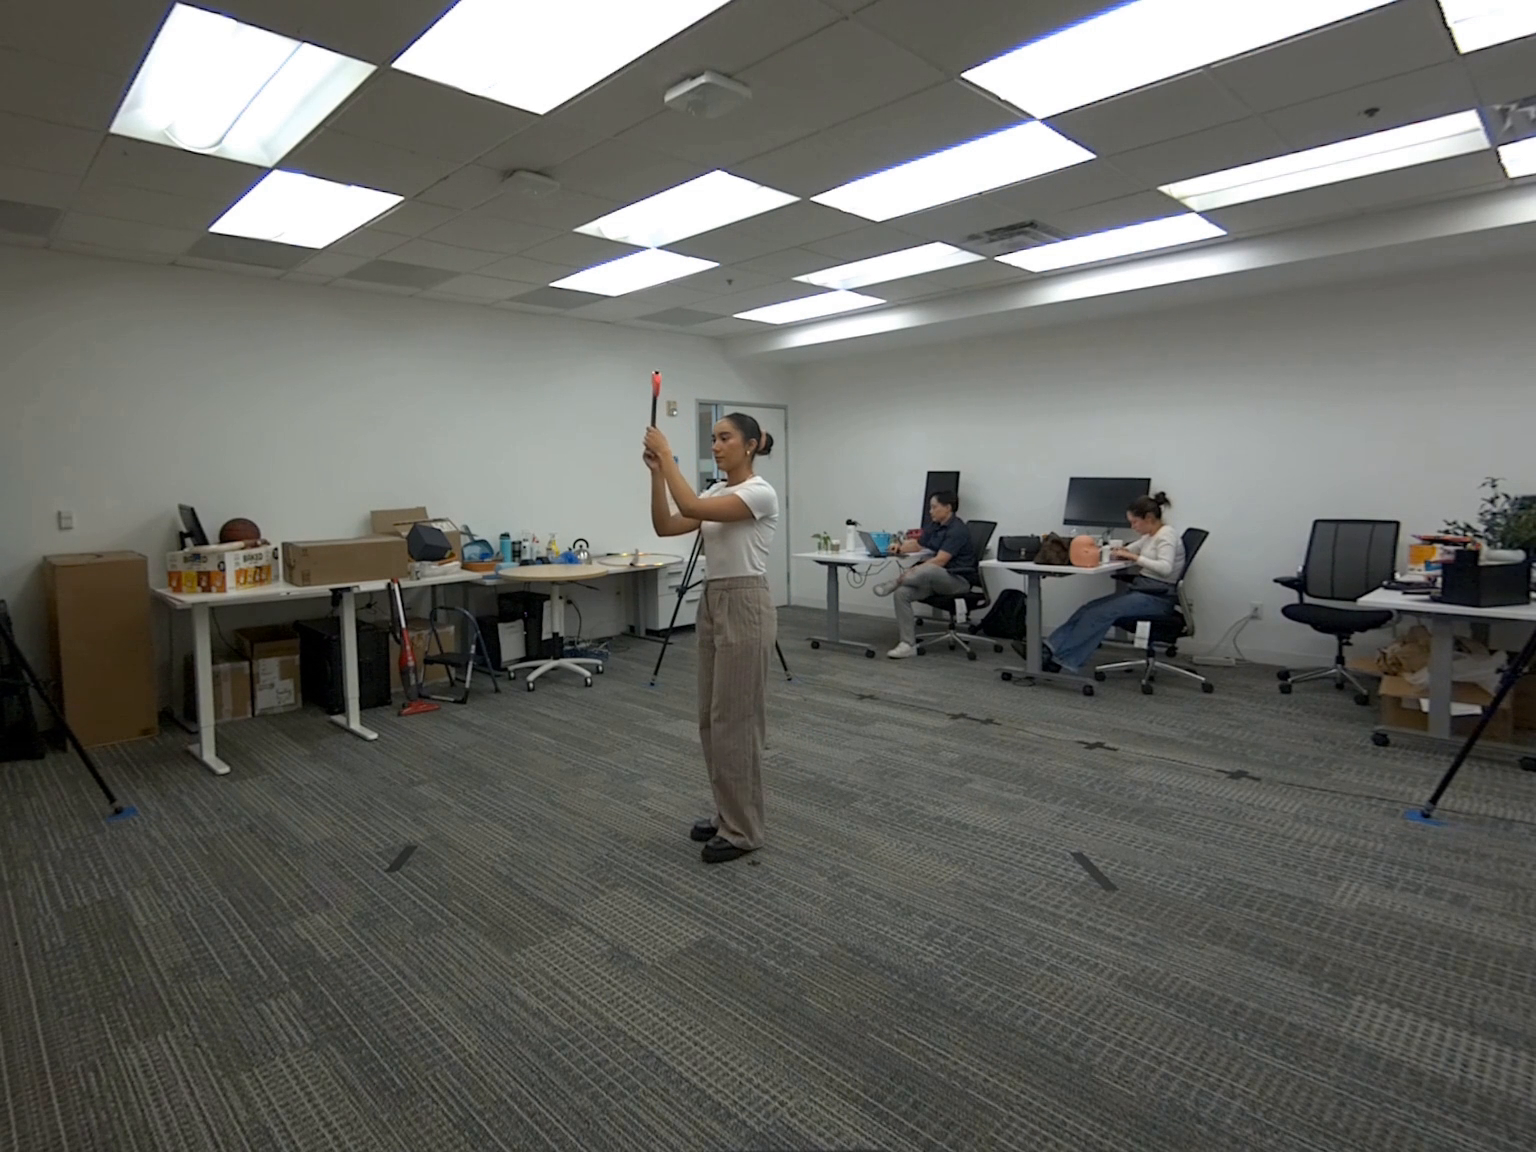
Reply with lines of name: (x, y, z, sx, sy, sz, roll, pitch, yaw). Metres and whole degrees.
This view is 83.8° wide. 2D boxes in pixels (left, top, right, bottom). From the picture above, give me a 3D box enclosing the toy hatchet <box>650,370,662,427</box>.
toy hatchet: (-0.408, -0.618, 3.114, 0.029, 0.269, 0.133, 1, 6, -16)
